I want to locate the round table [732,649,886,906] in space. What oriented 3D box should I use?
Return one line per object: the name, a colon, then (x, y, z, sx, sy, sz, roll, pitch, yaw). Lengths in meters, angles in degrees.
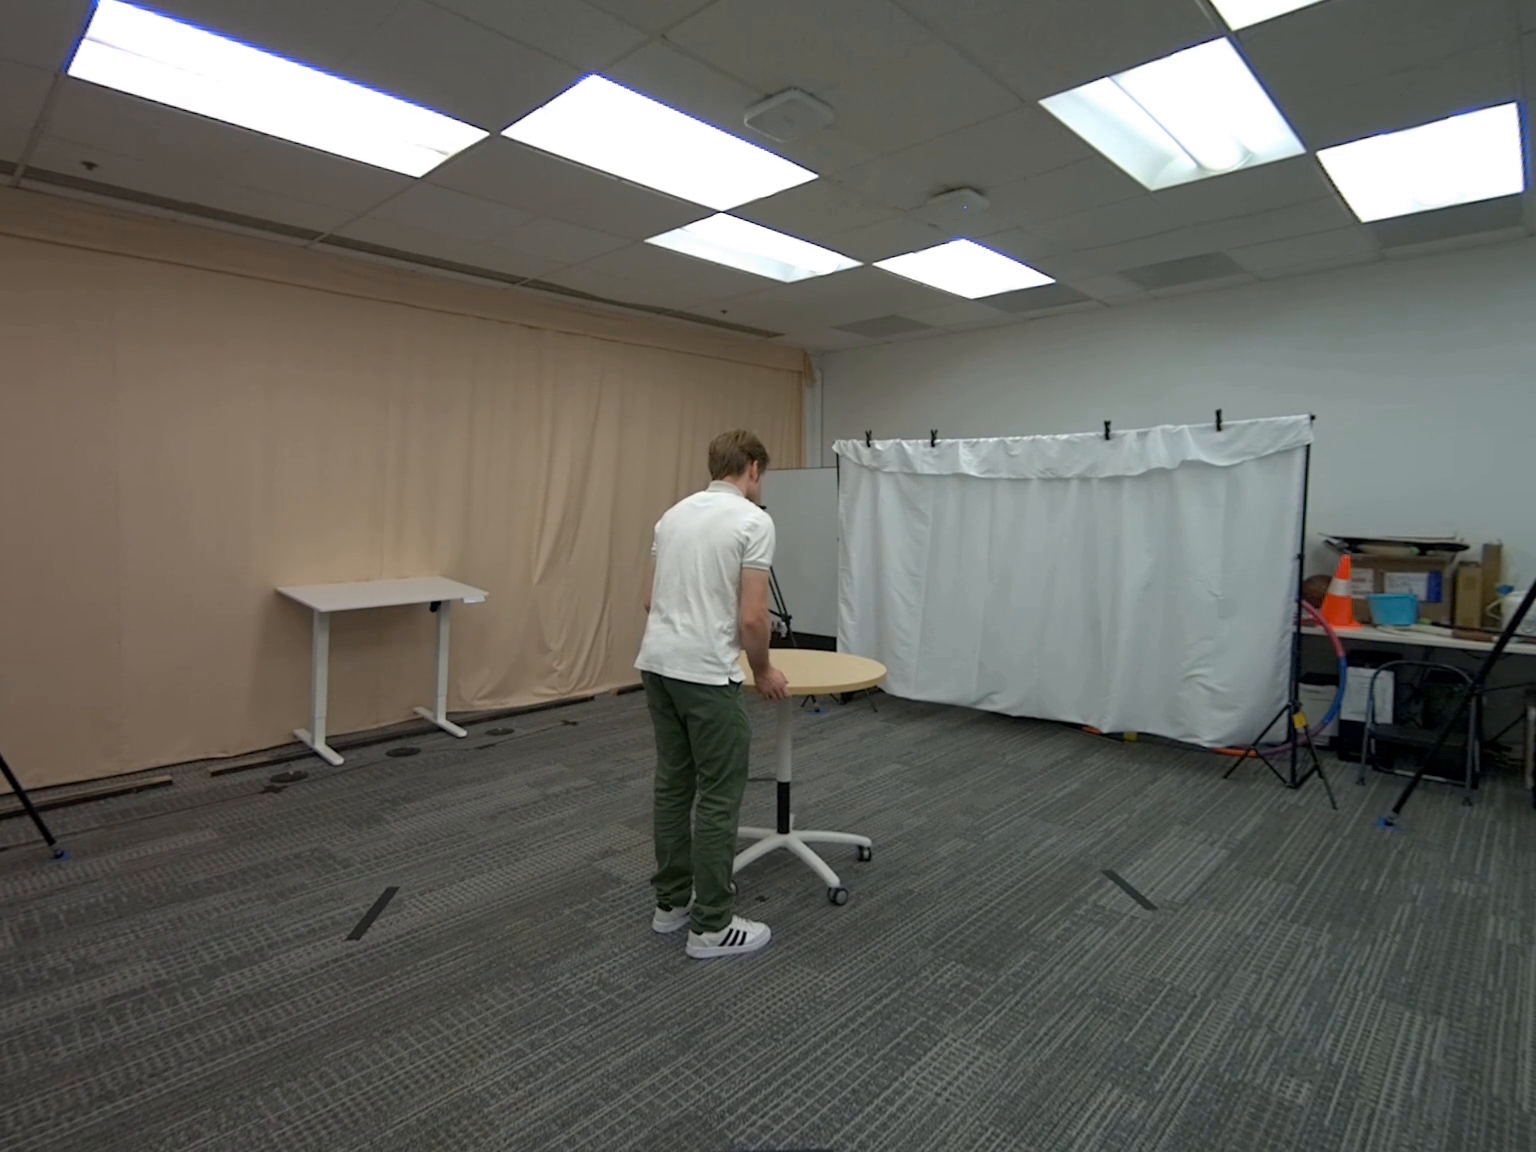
round table: (0.066, 0.733, 3.211, 0.763, 0.792, 0.766, 0, 4, -2)
